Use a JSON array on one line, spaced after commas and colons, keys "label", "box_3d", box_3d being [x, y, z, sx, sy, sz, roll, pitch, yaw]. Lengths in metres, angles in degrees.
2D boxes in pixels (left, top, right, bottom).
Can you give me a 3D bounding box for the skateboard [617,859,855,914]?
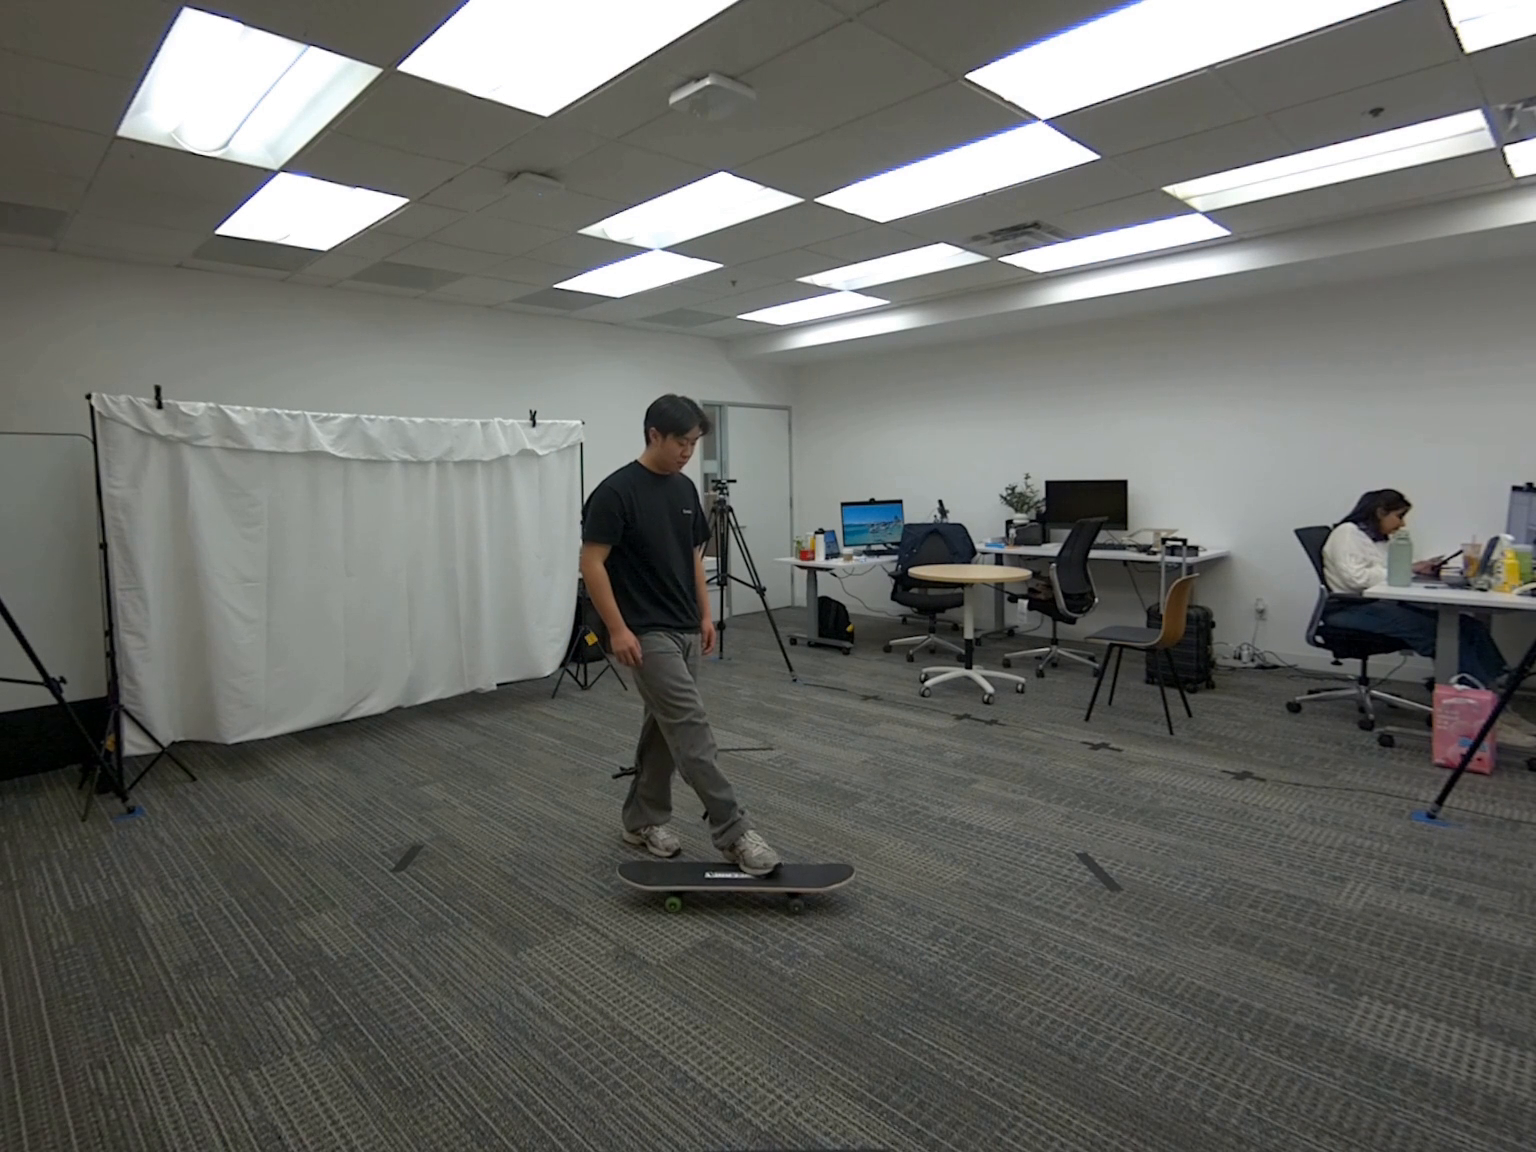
[{"label": "skateboard", "box_3d": [-0.115, 1.023, 2.833, 0.788, 0.110, 0.193, -1, 5, 4]}]
